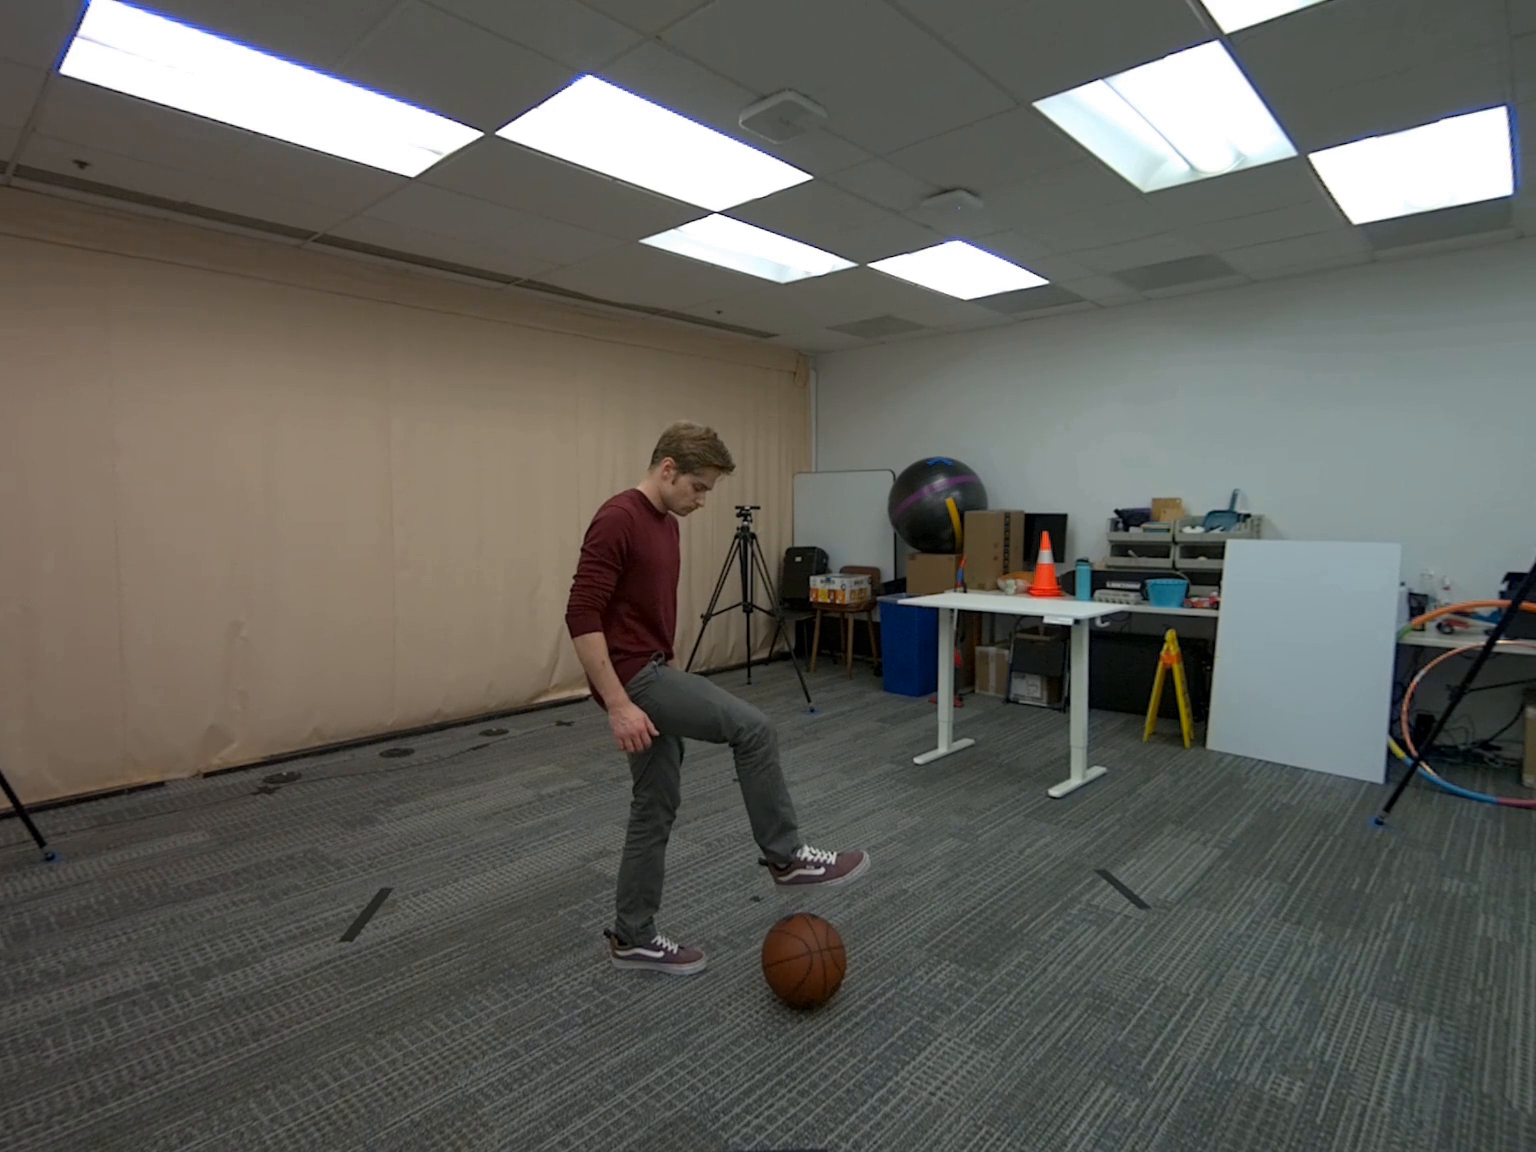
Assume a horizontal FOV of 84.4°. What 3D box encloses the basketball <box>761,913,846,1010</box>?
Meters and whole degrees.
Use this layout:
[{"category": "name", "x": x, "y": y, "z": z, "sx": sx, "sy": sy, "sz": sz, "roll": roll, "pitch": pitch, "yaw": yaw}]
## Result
[{"category": "basketball", "x": 0.104, "y": 1.078, "z": 2.361, "sx": 0.236, "sy": 0.235, "sz": 0.237, "roll": 0, "pitch": 4, "yaw": -2}]
